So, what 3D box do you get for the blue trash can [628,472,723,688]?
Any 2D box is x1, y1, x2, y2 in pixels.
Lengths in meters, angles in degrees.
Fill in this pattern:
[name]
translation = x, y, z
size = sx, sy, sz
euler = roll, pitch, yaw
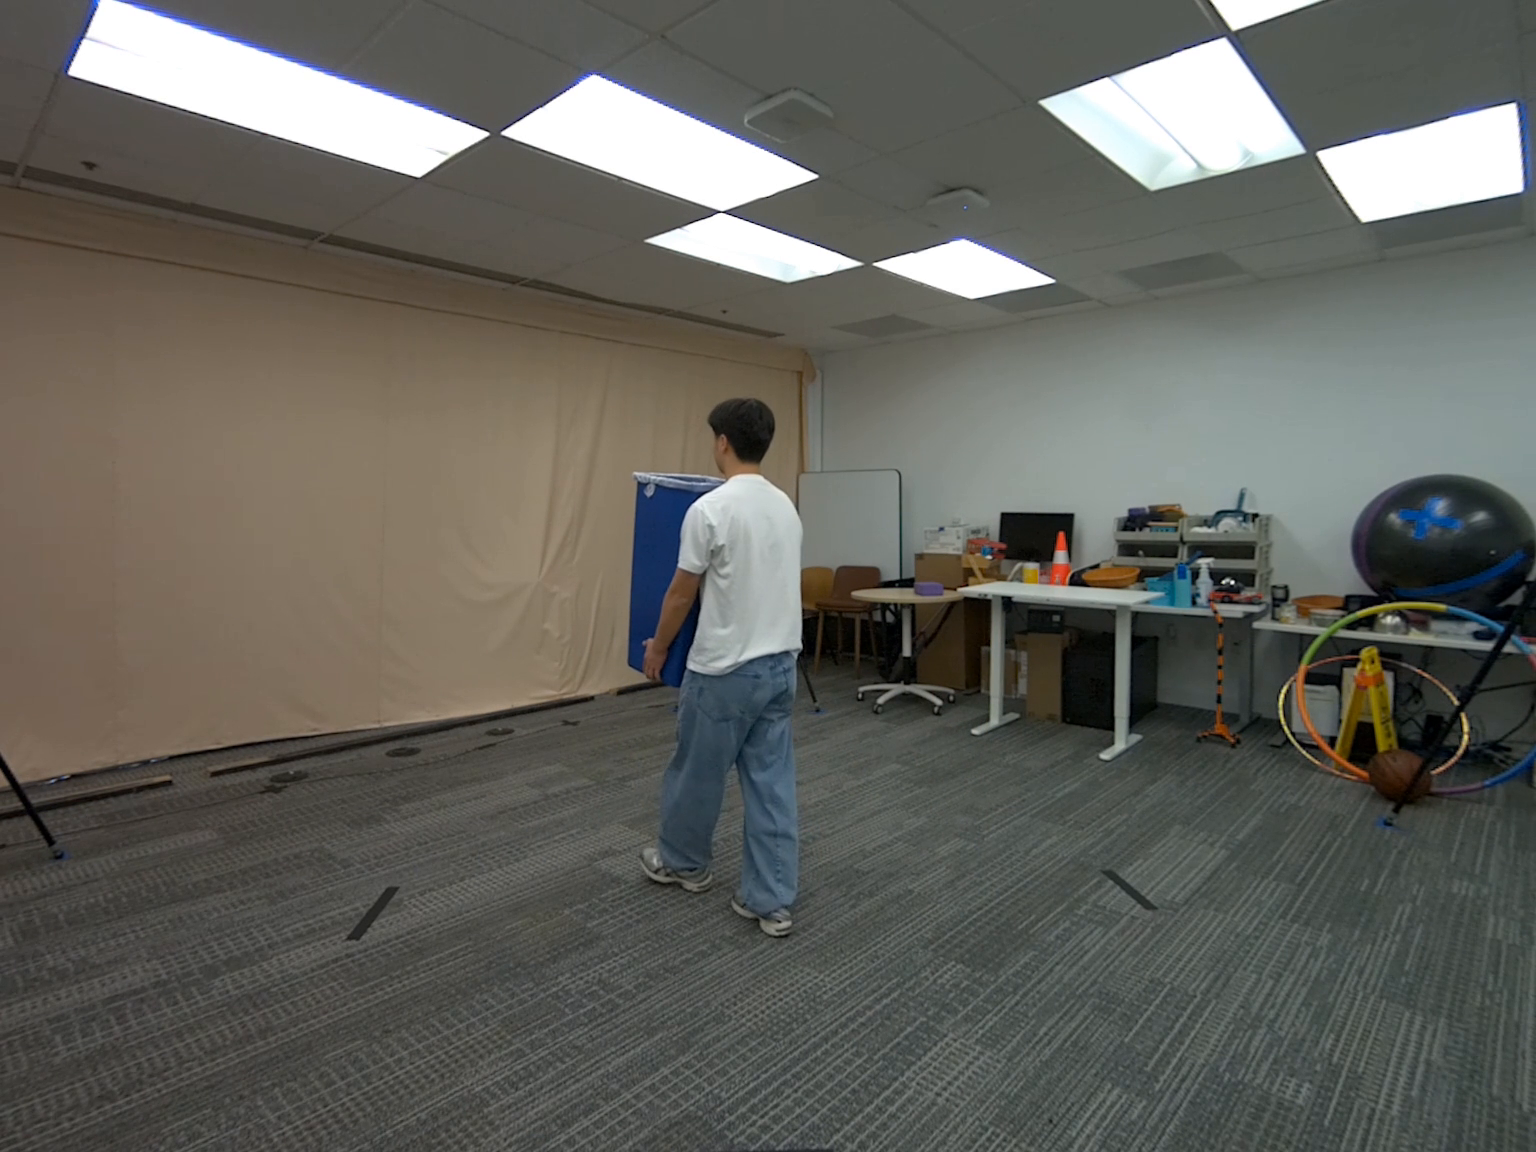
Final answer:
[blue trash can]
translation = -0.294, -0.001, 3.081
size = 0.362, 0.710, 0.392
euler = -3, 13, -45
